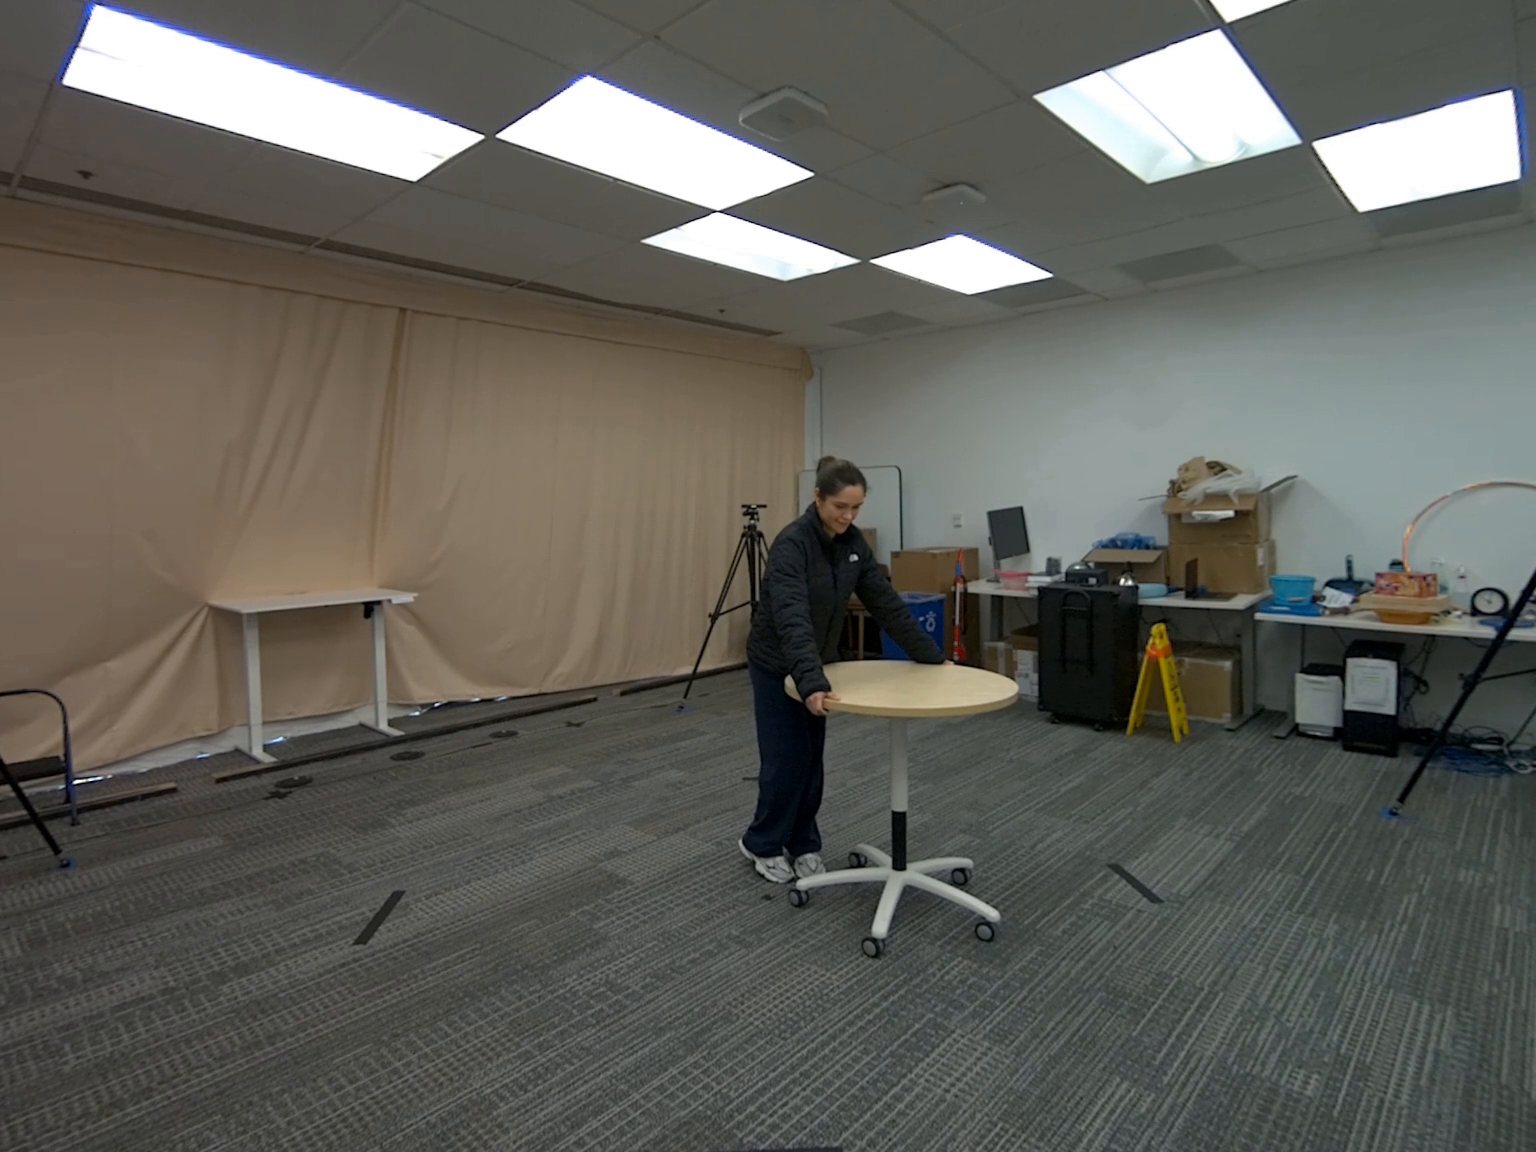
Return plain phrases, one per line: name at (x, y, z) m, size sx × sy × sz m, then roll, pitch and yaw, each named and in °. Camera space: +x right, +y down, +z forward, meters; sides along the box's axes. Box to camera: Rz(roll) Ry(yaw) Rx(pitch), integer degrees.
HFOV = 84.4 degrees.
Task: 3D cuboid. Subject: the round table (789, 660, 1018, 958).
round table at (0.452, 0.748, 2.871) m, size 0.784 × 0.785 × 0.788 m, roll 0°, pitch 4°, yaw -2°
